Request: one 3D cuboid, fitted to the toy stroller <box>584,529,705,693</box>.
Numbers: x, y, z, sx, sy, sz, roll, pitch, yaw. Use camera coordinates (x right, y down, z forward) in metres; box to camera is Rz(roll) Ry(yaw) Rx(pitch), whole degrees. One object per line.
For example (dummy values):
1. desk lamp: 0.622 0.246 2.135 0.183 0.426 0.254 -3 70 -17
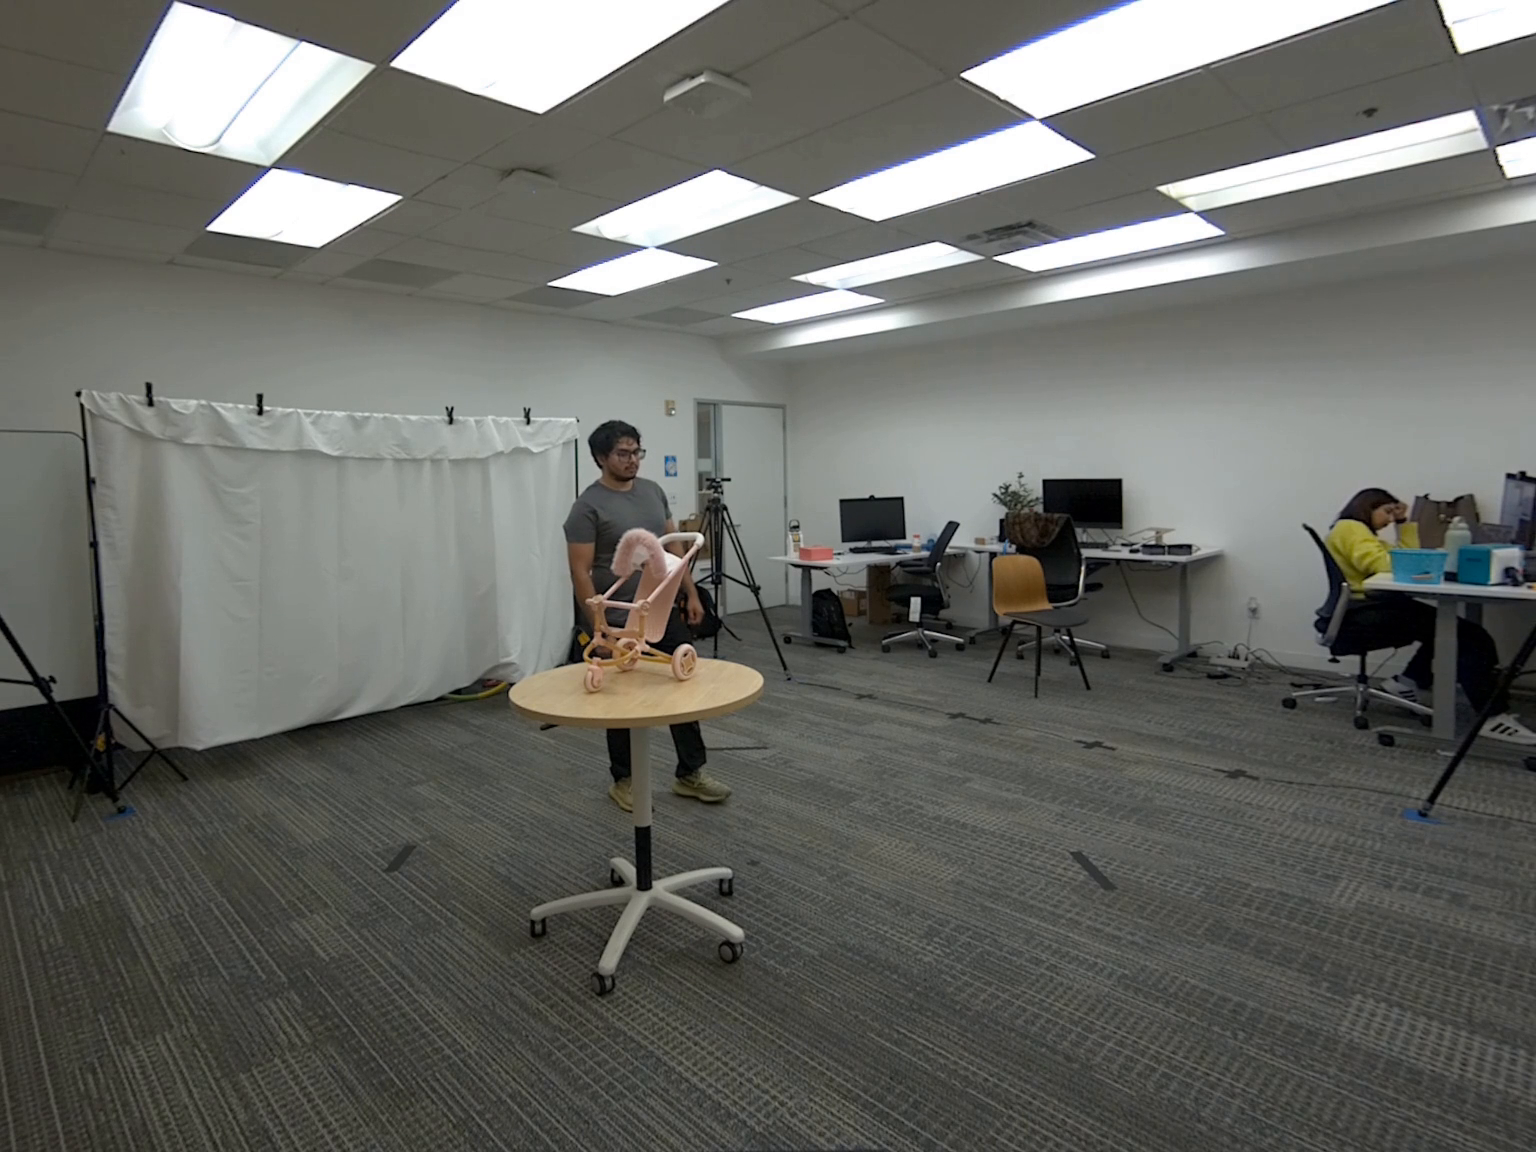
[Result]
1. toy stroller: -0.399 0.098 2.639 0.290 0.538 0.329 1 -10 42
